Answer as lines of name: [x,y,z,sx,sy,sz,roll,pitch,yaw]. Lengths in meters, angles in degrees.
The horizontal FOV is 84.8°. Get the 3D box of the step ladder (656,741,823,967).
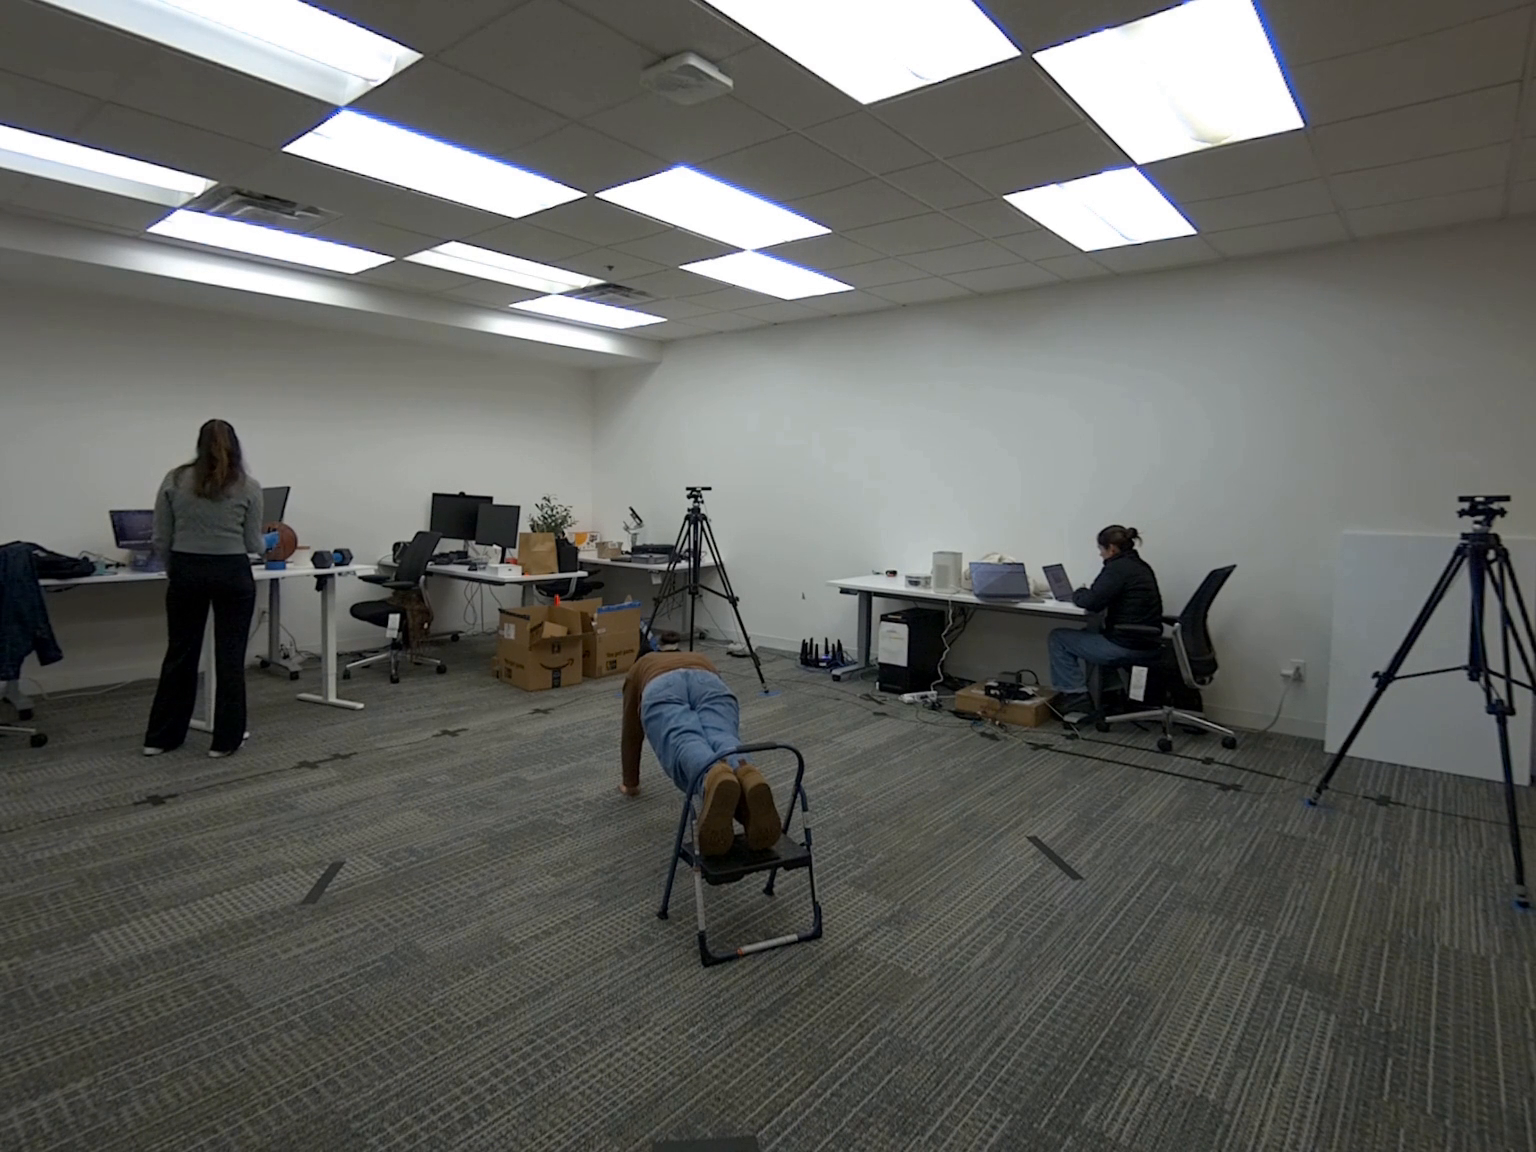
step ladder: [-0.092,0.810,2.685,0.419,0.604,0.360,-1,4,-29]
